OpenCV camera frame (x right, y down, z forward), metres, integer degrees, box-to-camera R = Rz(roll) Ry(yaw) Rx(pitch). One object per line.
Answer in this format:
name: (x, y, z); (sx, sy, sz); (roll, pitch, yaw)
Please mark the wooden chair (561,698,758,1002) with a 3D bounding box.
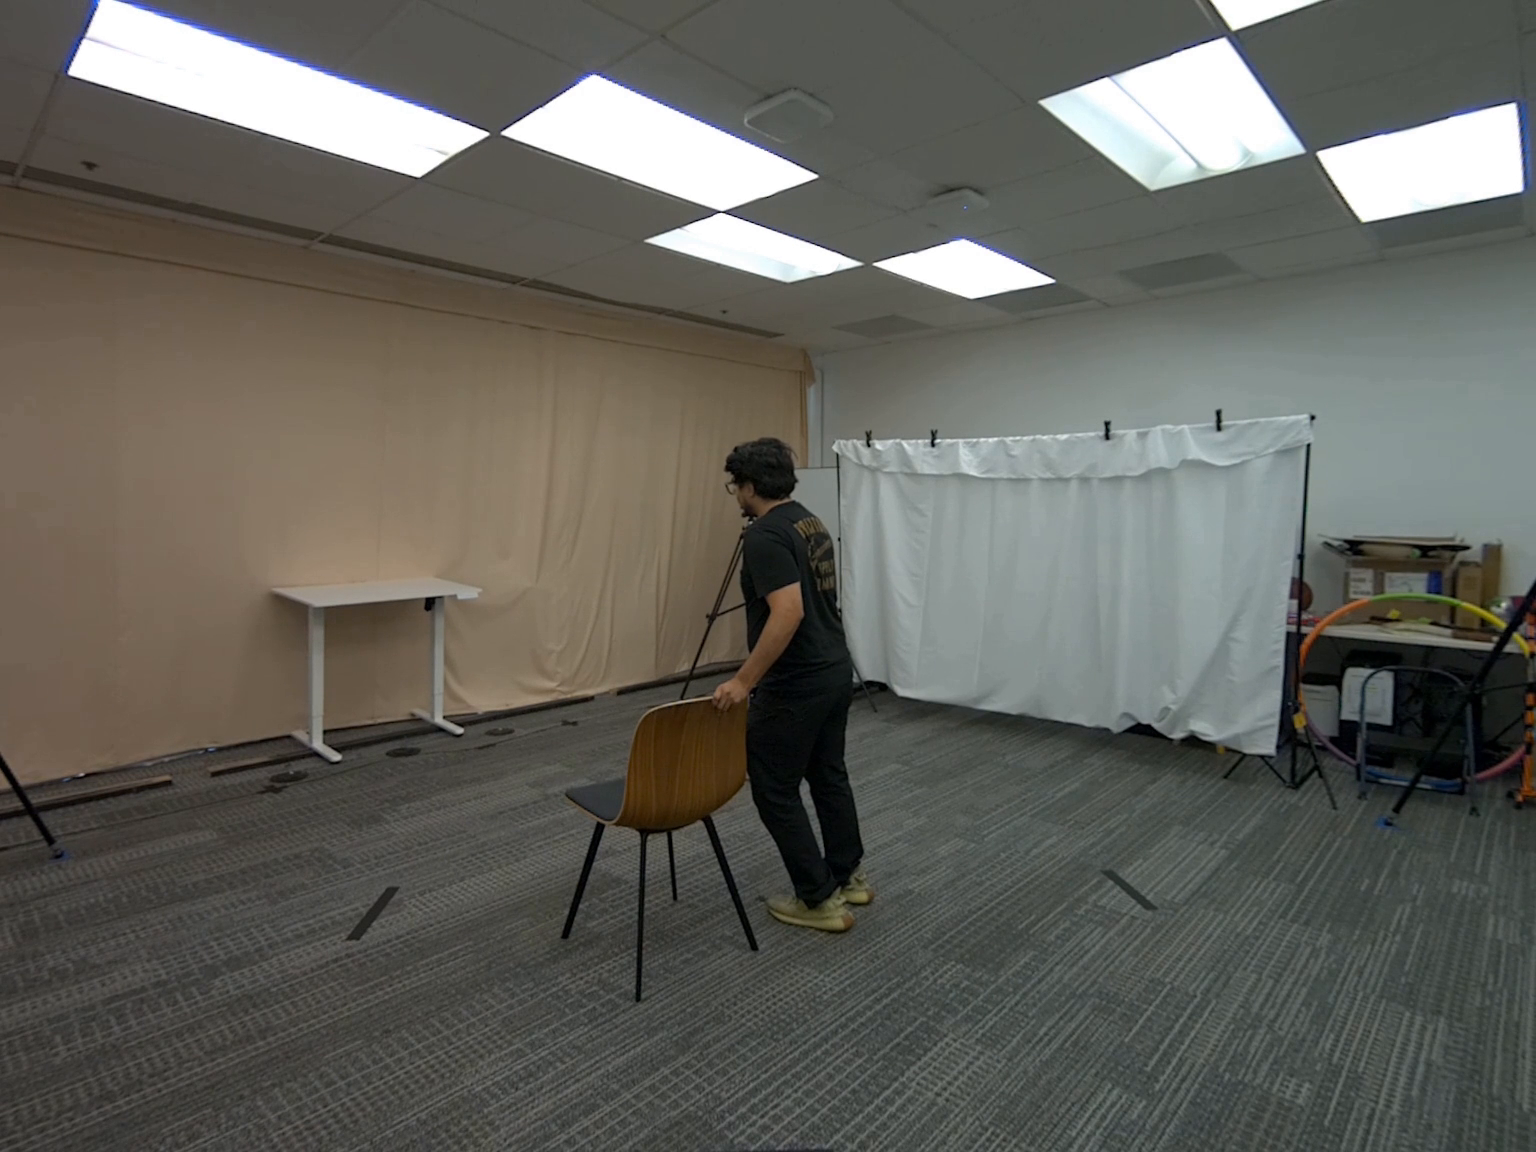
wooden chair: (-0.356, 0.748, 2.653); (0.463, 0.874, 0.541); (-2, 8, -40)
